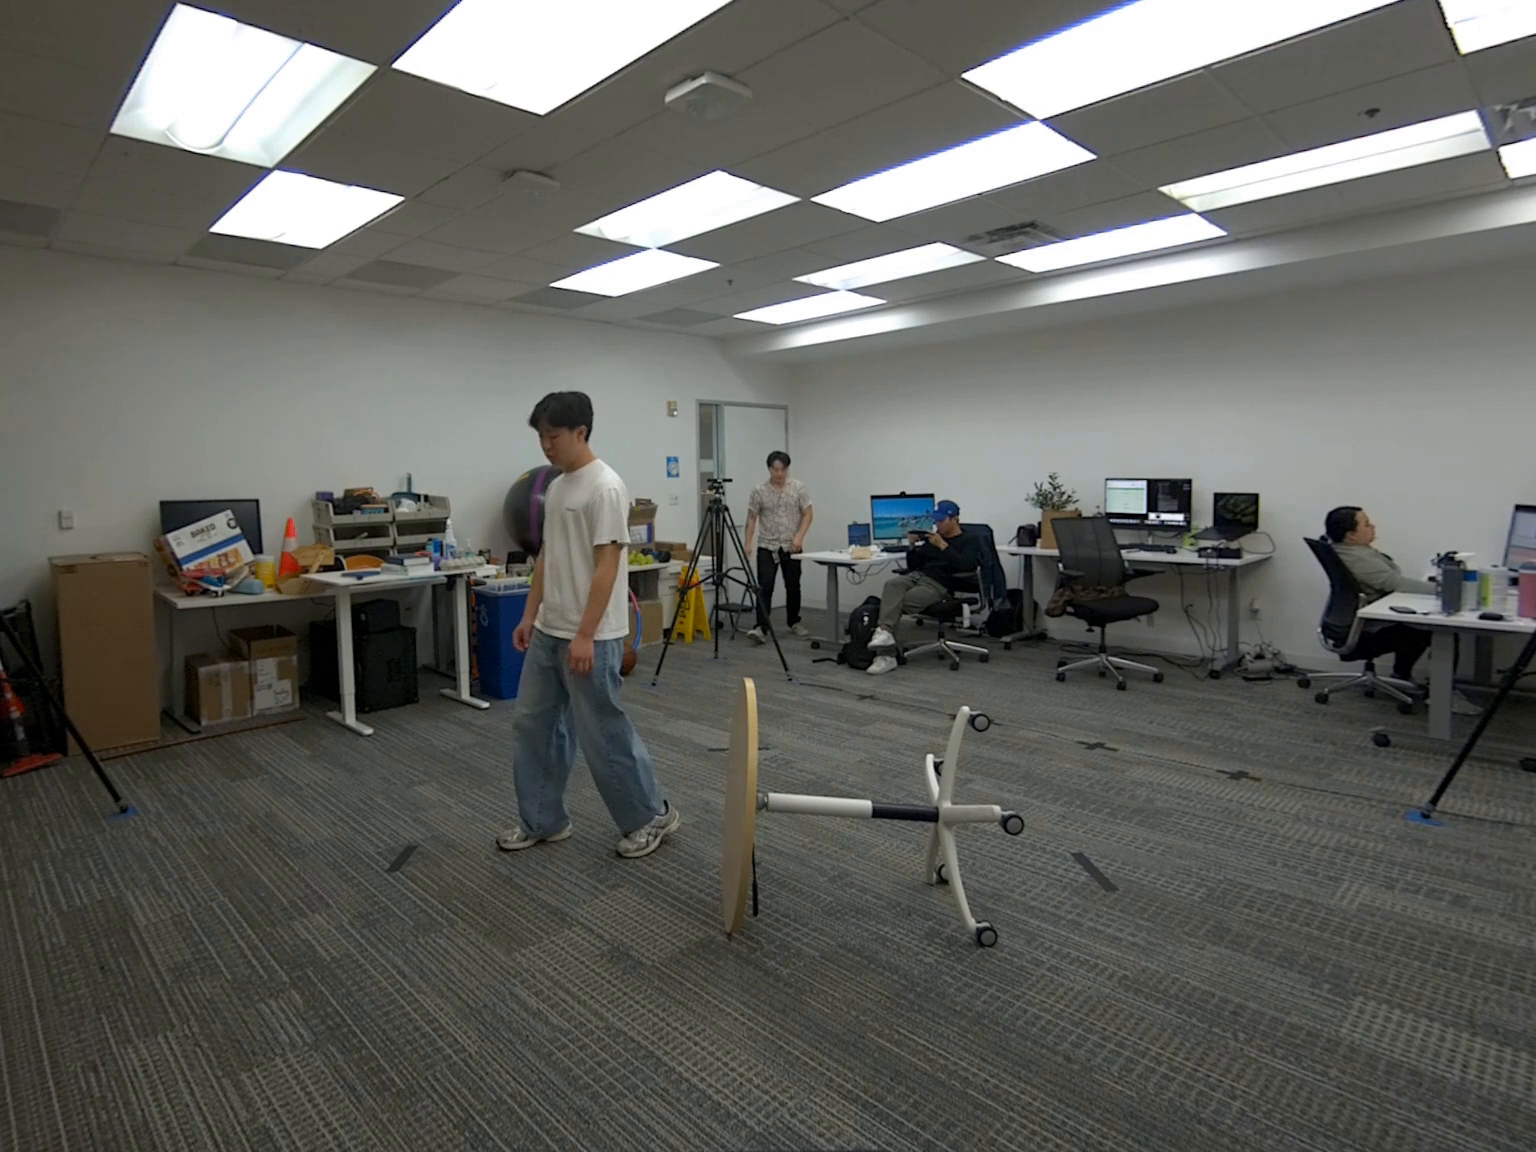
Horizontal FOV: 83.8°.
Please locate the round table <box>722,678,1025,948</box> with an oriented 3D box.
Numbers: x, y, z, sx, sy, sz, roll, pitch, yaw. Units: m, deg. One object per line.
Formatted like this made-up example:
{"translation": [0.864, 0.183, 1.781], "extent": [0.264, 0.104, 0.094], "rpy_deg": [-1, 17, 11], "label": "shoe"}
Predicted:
{"translation": [0.289, 0.738, 2.728], "extent": [0.783, 0.783, 0.792], "rpy_deg": [4, 4, -5], "label": "round table"}
